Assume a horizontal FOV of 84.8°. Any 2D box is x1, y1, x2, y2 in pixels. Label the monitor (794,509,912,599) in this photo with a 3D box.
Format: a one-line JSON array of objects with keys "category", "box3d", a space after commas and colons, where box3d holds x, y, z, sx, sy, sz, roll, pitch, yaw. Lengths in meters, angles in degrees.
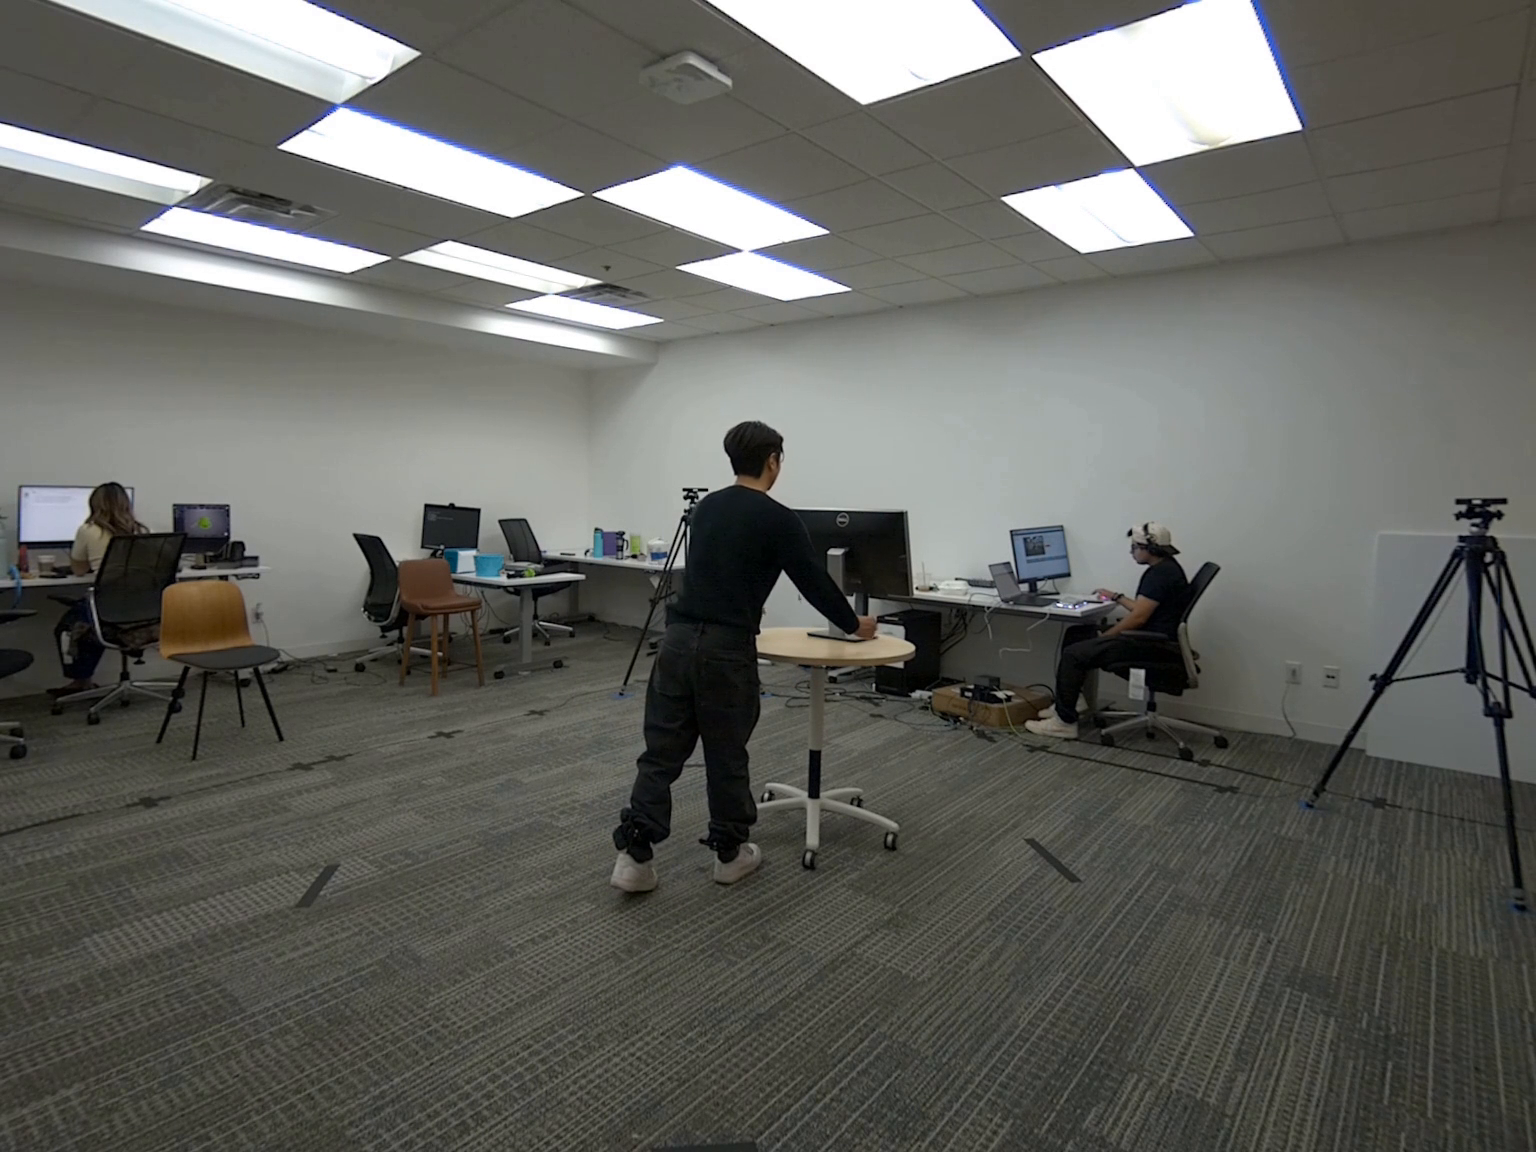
[{"category": "monitor", "box3d": [0.312, -0.013, 3.595, 0.556, 0.522, 0.181, 4, 2, 35]}]
